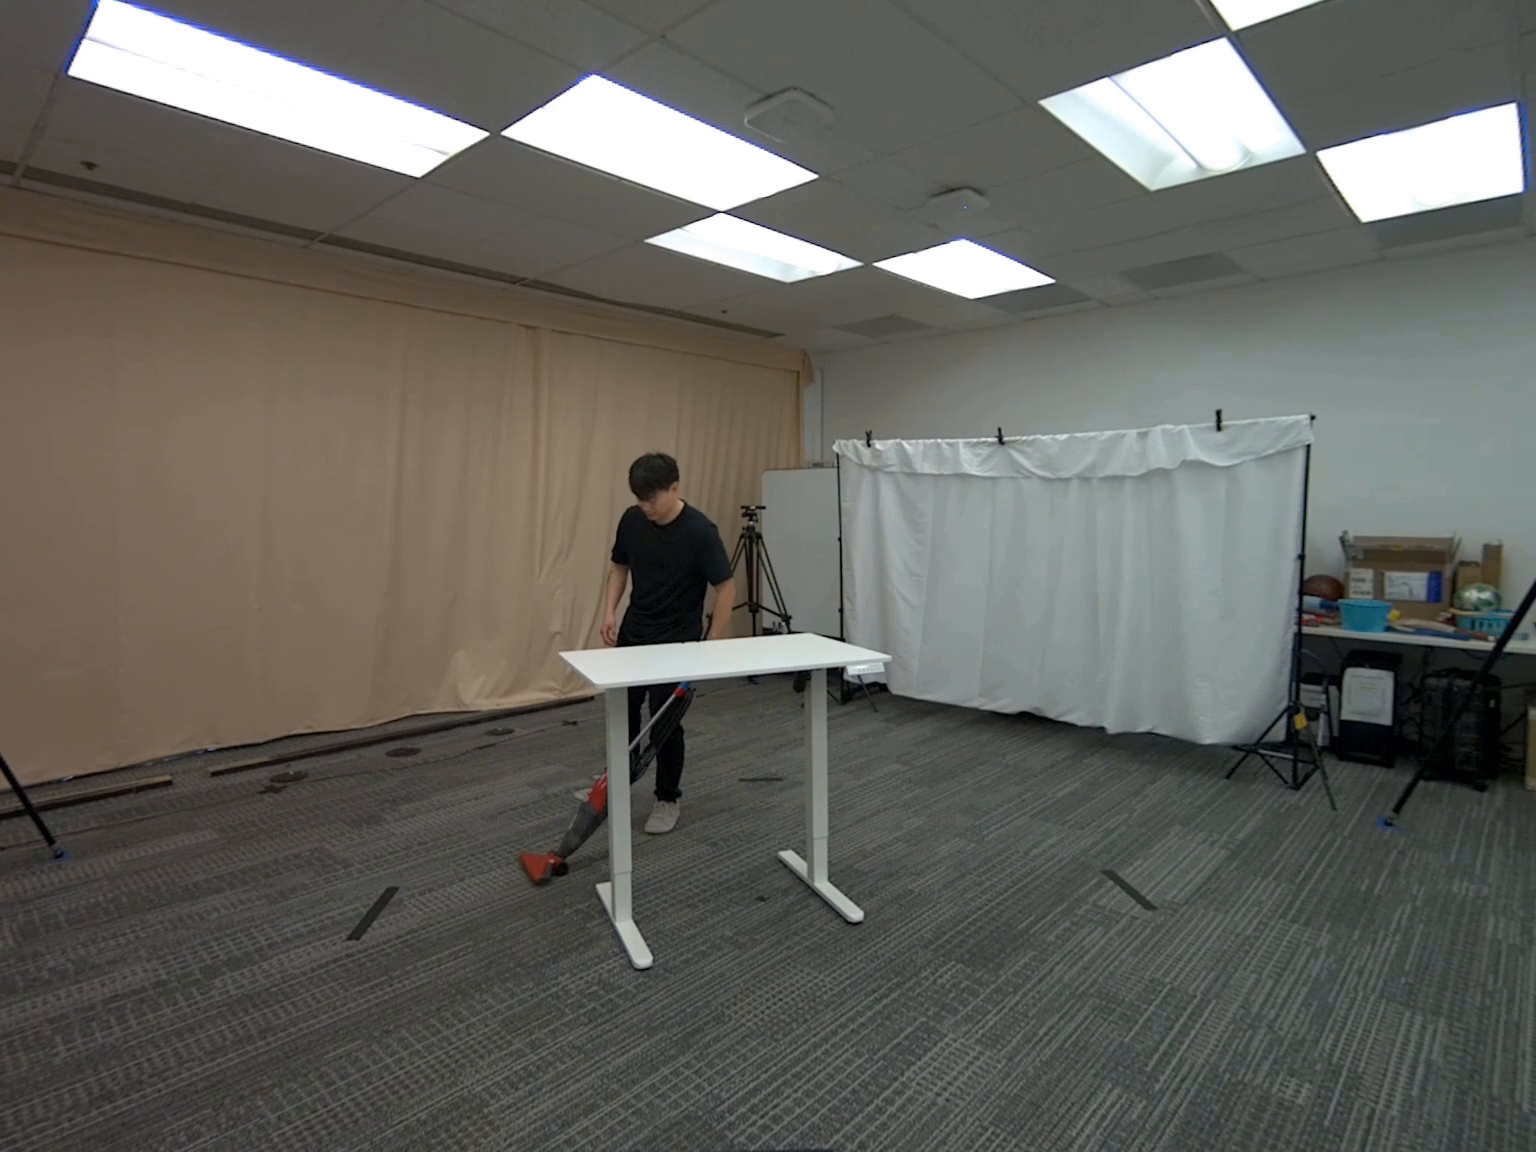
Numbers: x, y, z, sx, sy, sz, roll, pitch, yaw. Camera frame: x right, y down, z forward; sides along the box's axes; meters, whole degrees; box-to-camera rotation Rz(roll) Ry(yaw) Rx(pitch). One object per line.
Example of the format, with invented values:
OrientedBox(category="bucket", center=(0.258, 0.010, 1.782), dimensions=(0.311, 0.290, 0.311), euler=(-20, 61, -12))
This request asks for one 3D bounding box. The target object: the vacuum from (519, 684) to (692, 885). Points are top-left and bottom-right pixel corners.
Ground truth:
OrientedBox(category="vacuum", center=(-0.538, 0.733, 3.377), dimensions=(1.044, 0.141, 0.259), euler=(-49, 21, -19))
